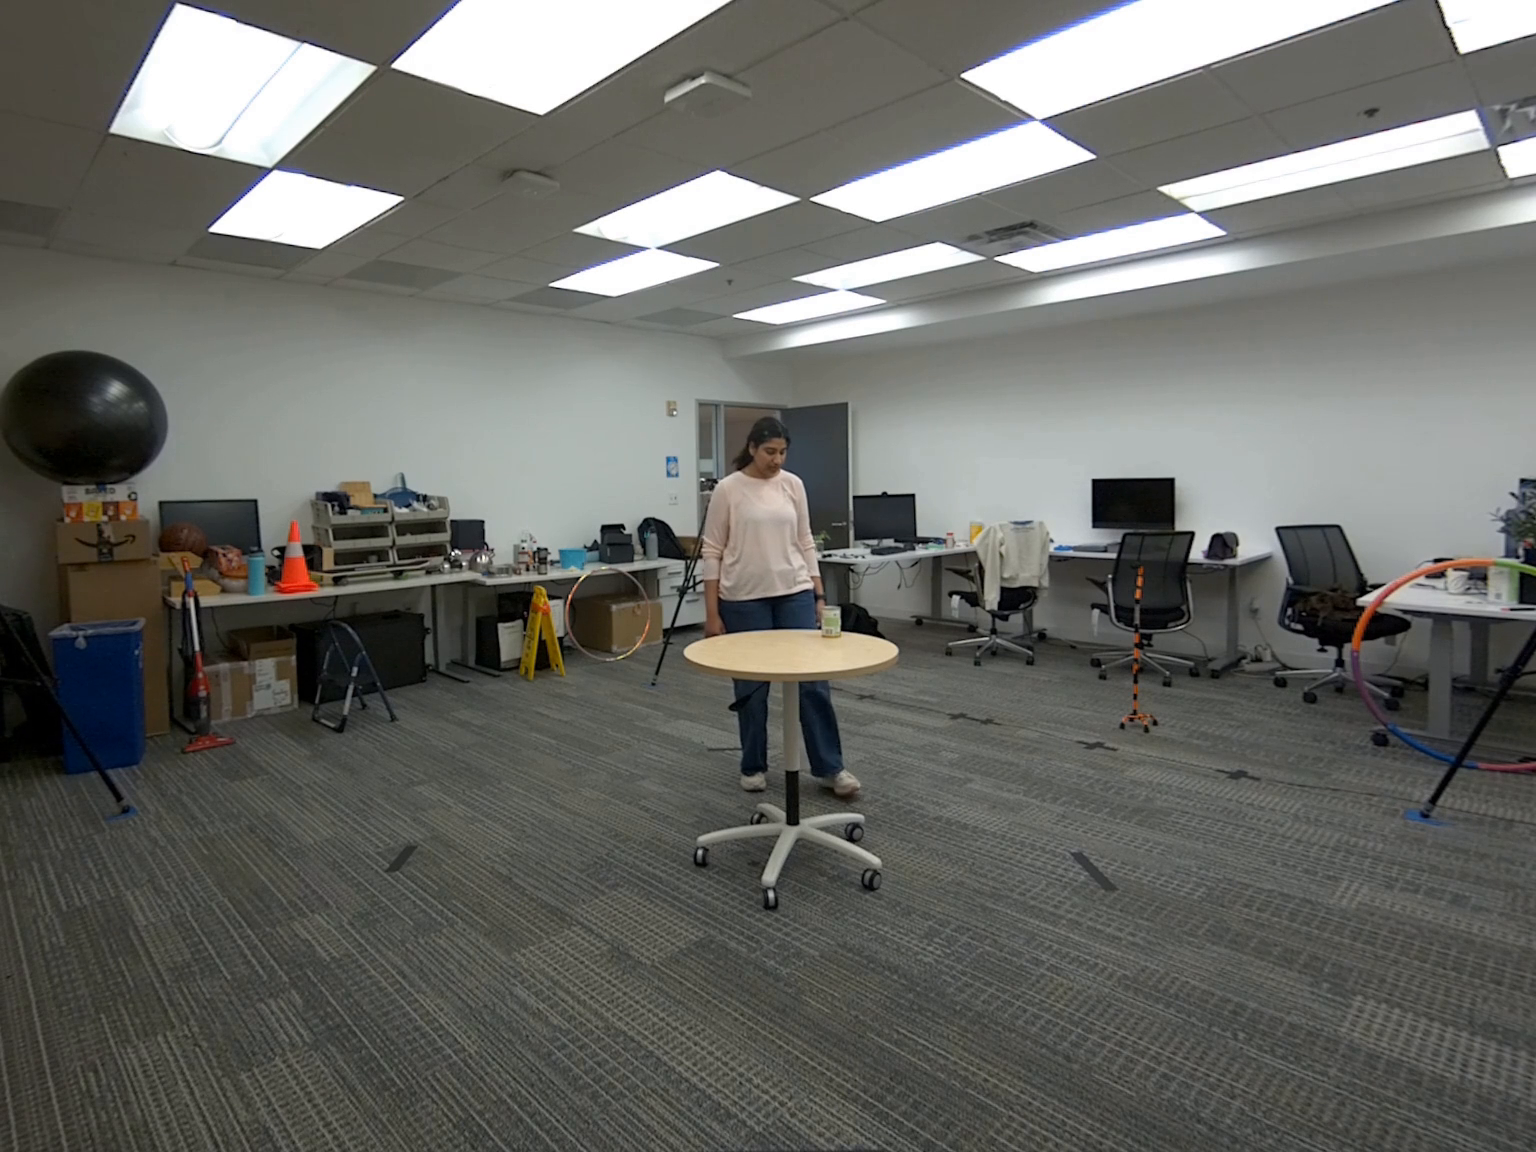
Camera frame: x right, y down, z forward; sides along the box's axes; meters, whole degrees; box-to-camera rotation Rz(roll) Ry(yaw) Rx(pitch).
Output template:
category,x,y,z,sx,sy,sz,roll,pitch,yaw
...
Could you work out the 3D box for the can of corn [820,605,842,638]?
category,x,y,z,sx,sy,sz,roll,pitch,yaw
can of corn,0.243,0.176,3.286,0.074,0.110,0.074,-2,5,-1
